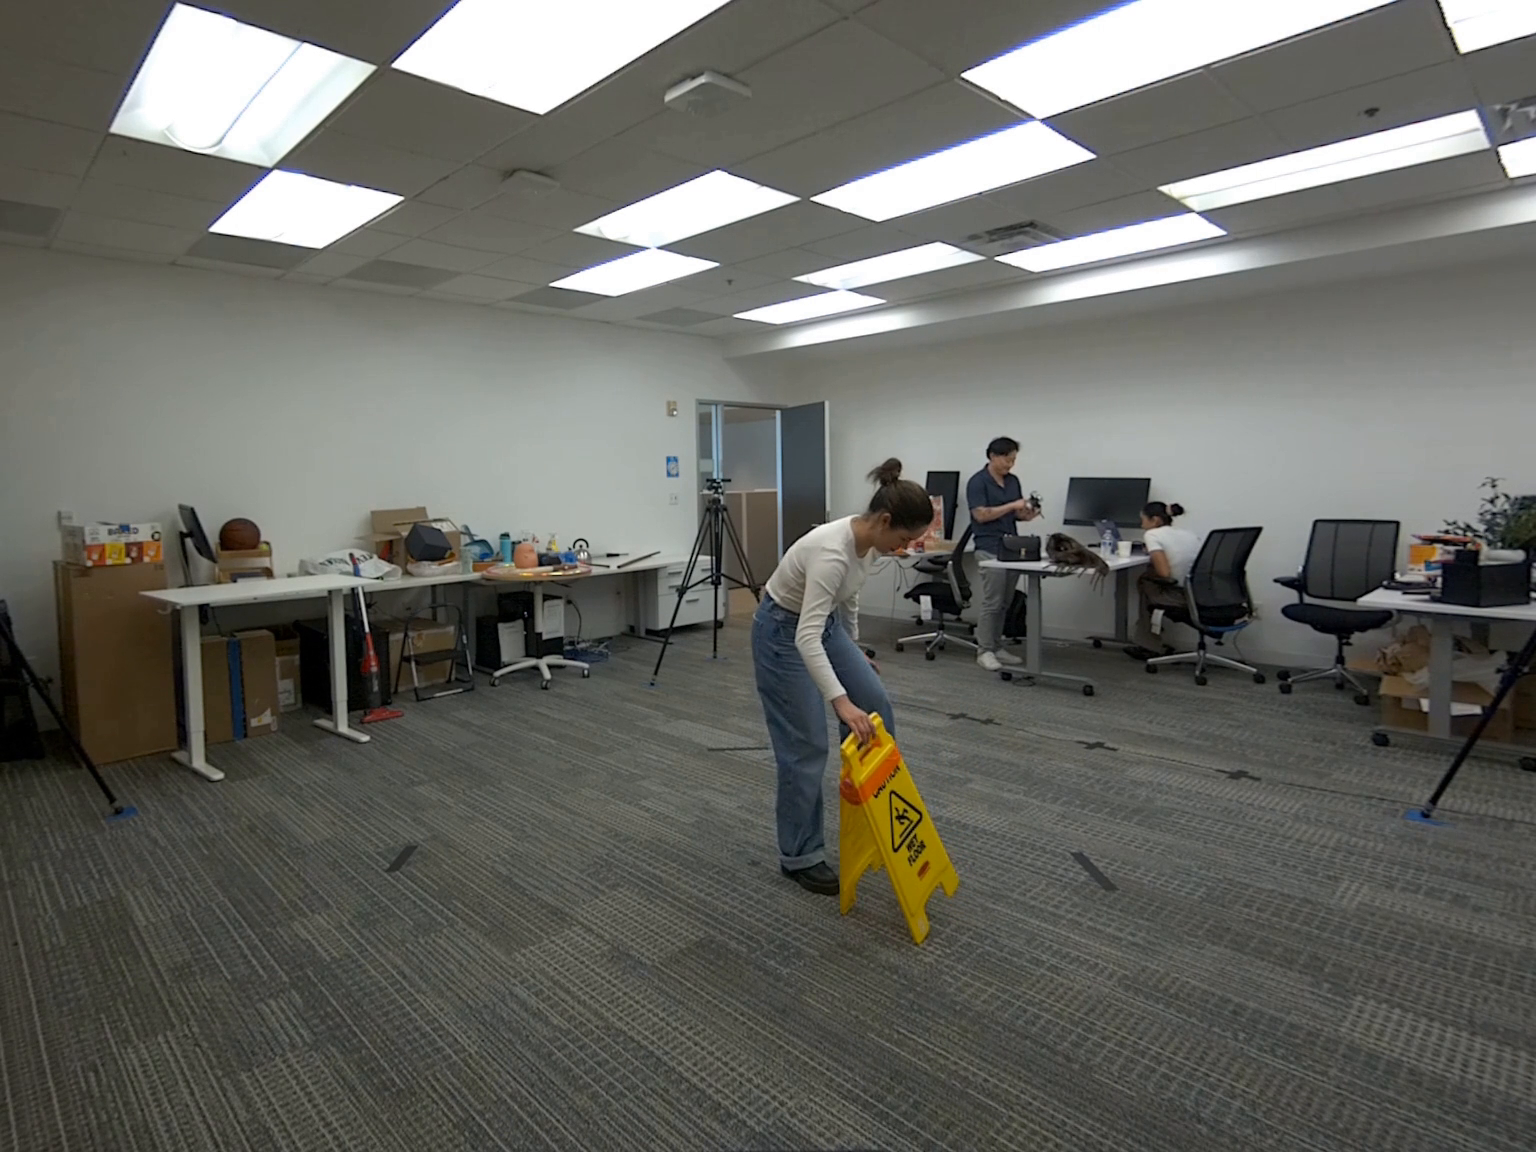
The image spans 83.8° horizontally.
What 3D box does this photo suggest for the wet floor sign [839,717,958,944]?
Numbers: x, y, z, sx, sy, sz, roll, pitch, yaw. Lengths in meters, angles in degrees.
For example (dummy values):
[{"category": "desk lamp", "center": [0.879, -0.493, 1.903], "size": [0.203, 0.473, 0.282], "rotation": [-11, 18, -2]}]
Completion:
[{"category": "wet floor sign", "center": [0.351, 0.750, 2.640], "size": [0.298, 0.633, 0.279], "rotation": [2, 25, 41]}]
